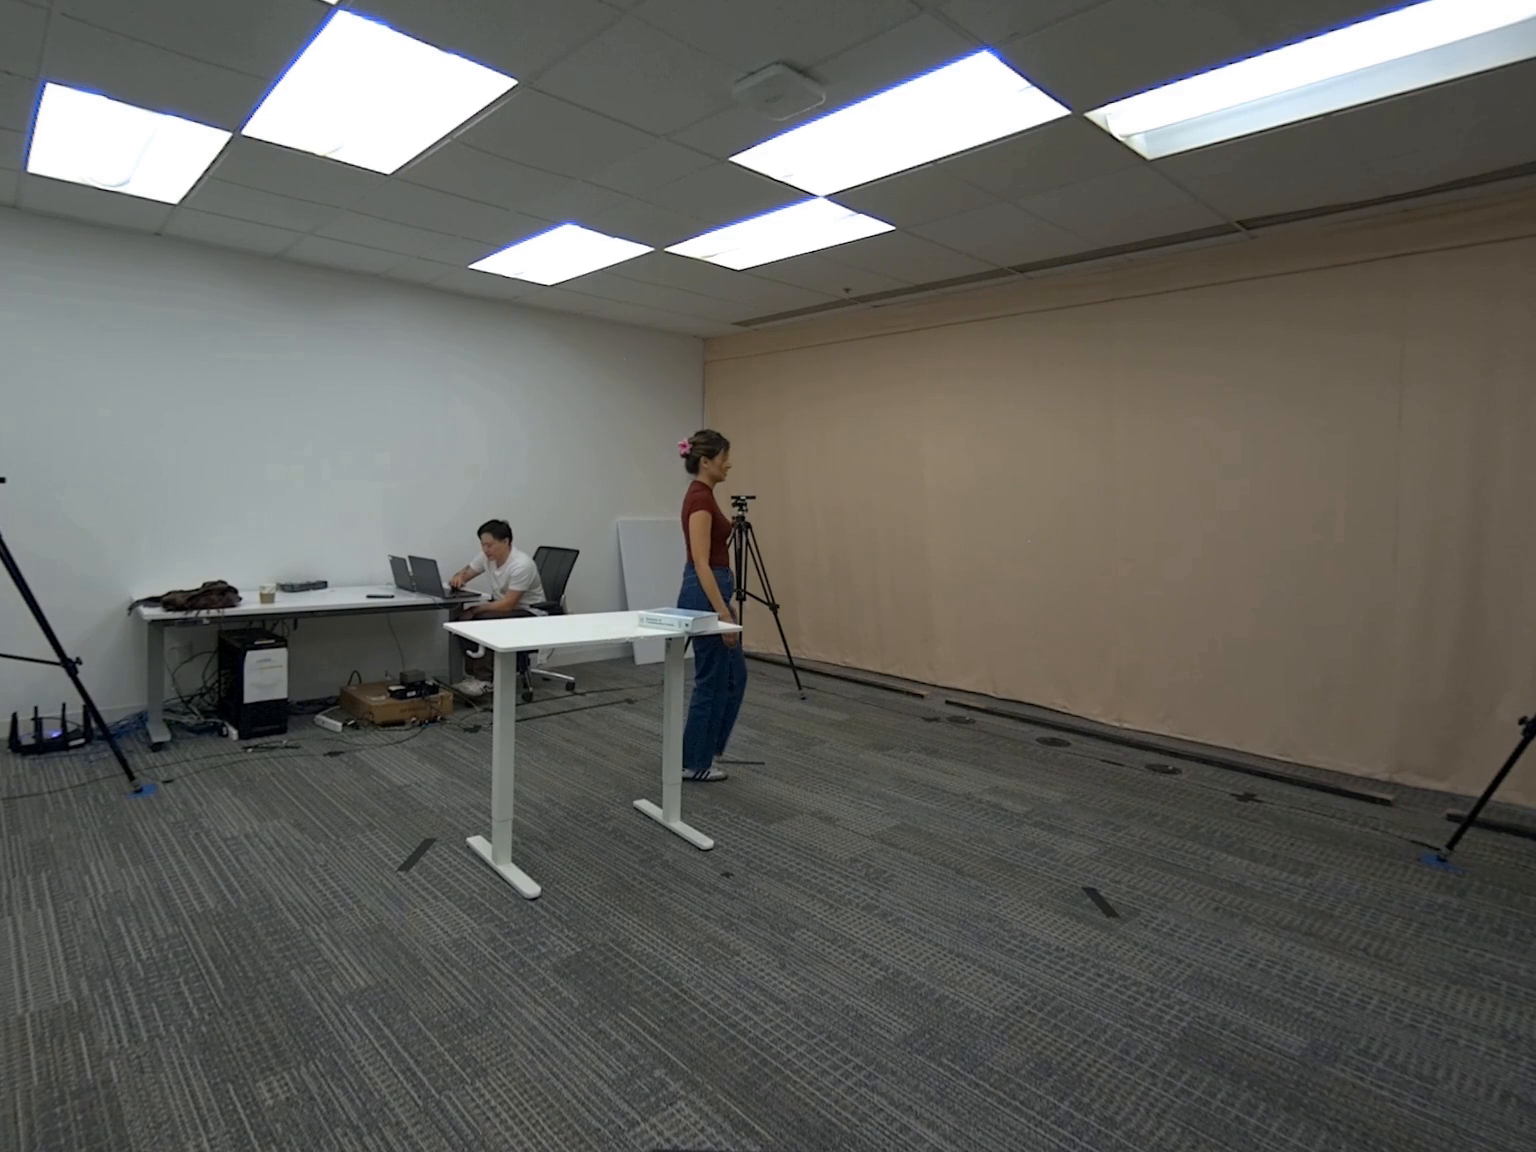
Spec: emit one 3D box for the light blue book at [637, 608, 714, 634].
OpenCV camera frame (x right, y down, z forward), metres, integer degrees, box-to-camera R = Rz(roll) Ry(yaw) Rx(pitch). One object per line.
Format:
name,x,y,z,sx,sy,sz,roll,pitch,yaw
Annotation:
light blue book,-0.362,0.170,3.302,0.267,0.059,0.187,4,6,31
